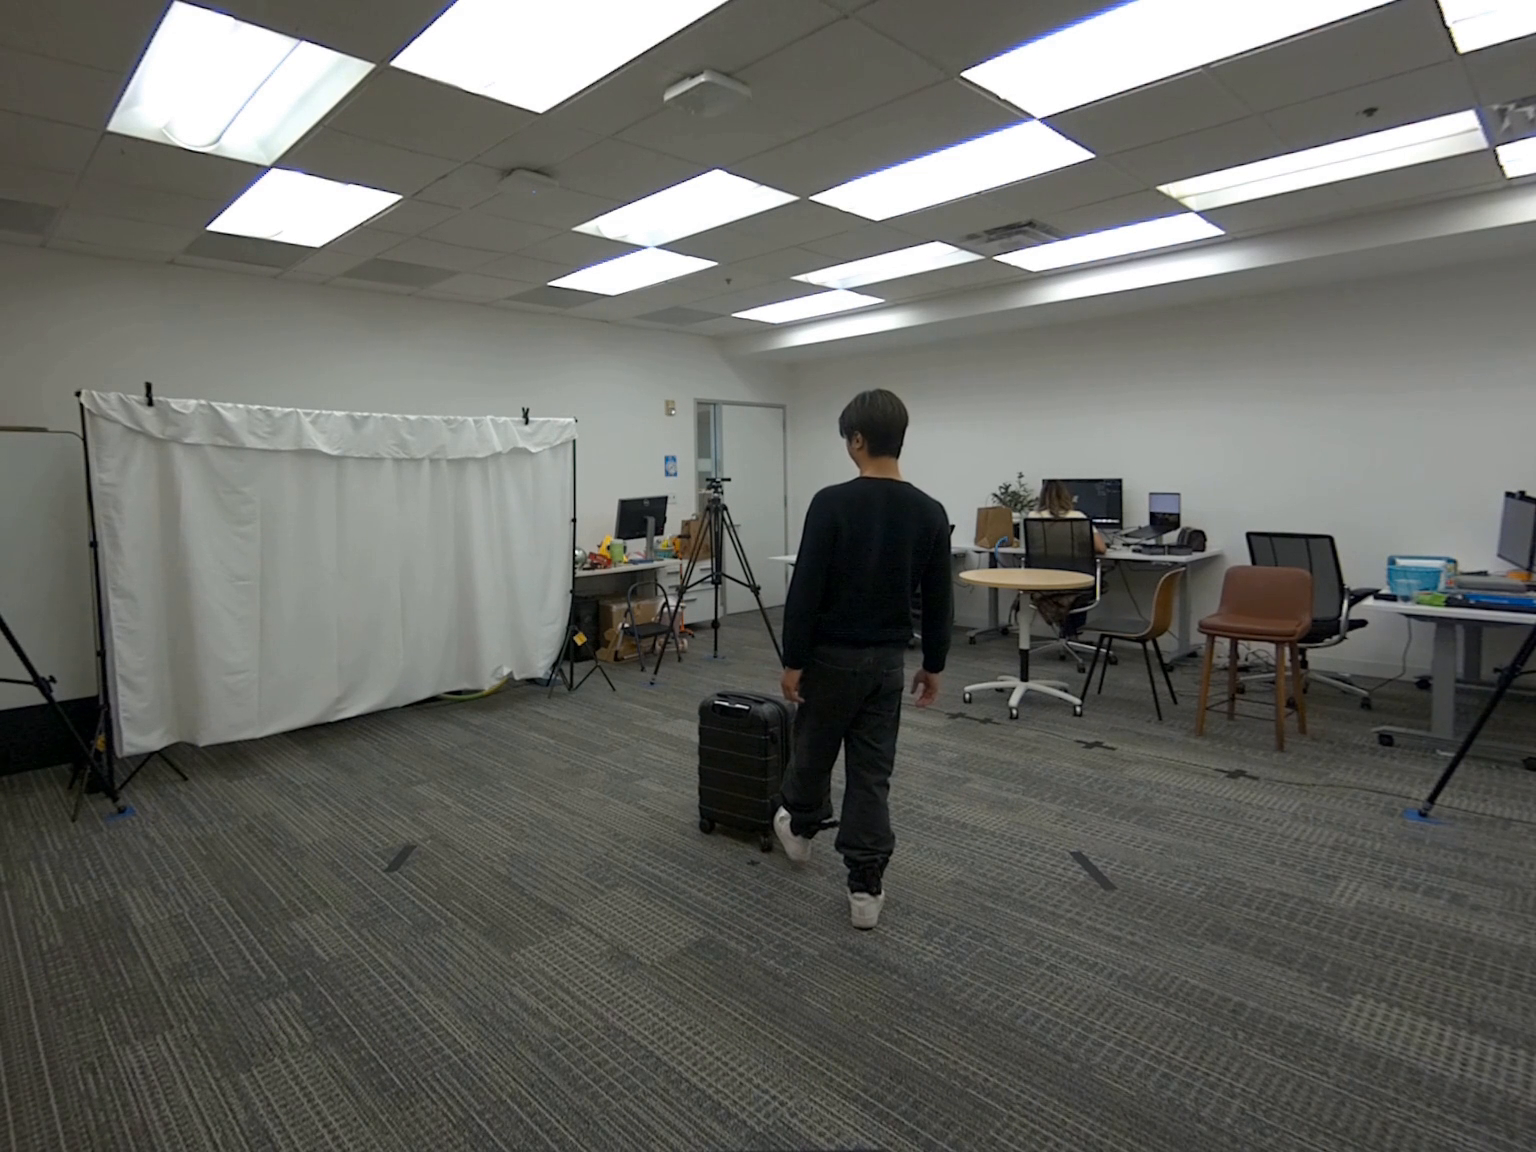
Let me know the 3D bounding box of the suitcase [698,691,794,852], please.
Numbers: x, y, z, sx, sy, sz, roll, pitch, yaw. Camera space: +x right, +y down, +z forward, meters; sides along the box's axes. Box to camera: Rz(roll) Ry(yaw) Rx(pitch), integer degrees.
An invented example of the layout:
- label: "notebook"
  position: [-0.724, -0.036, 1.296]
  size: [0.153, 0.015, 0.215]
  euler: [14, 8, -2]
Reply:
- label: "suitcase"
  position: [-0.082, 0.737, 3.387]
  size: [0.386, 0.548, 0.242]
  euler: [1, 3, 34]
